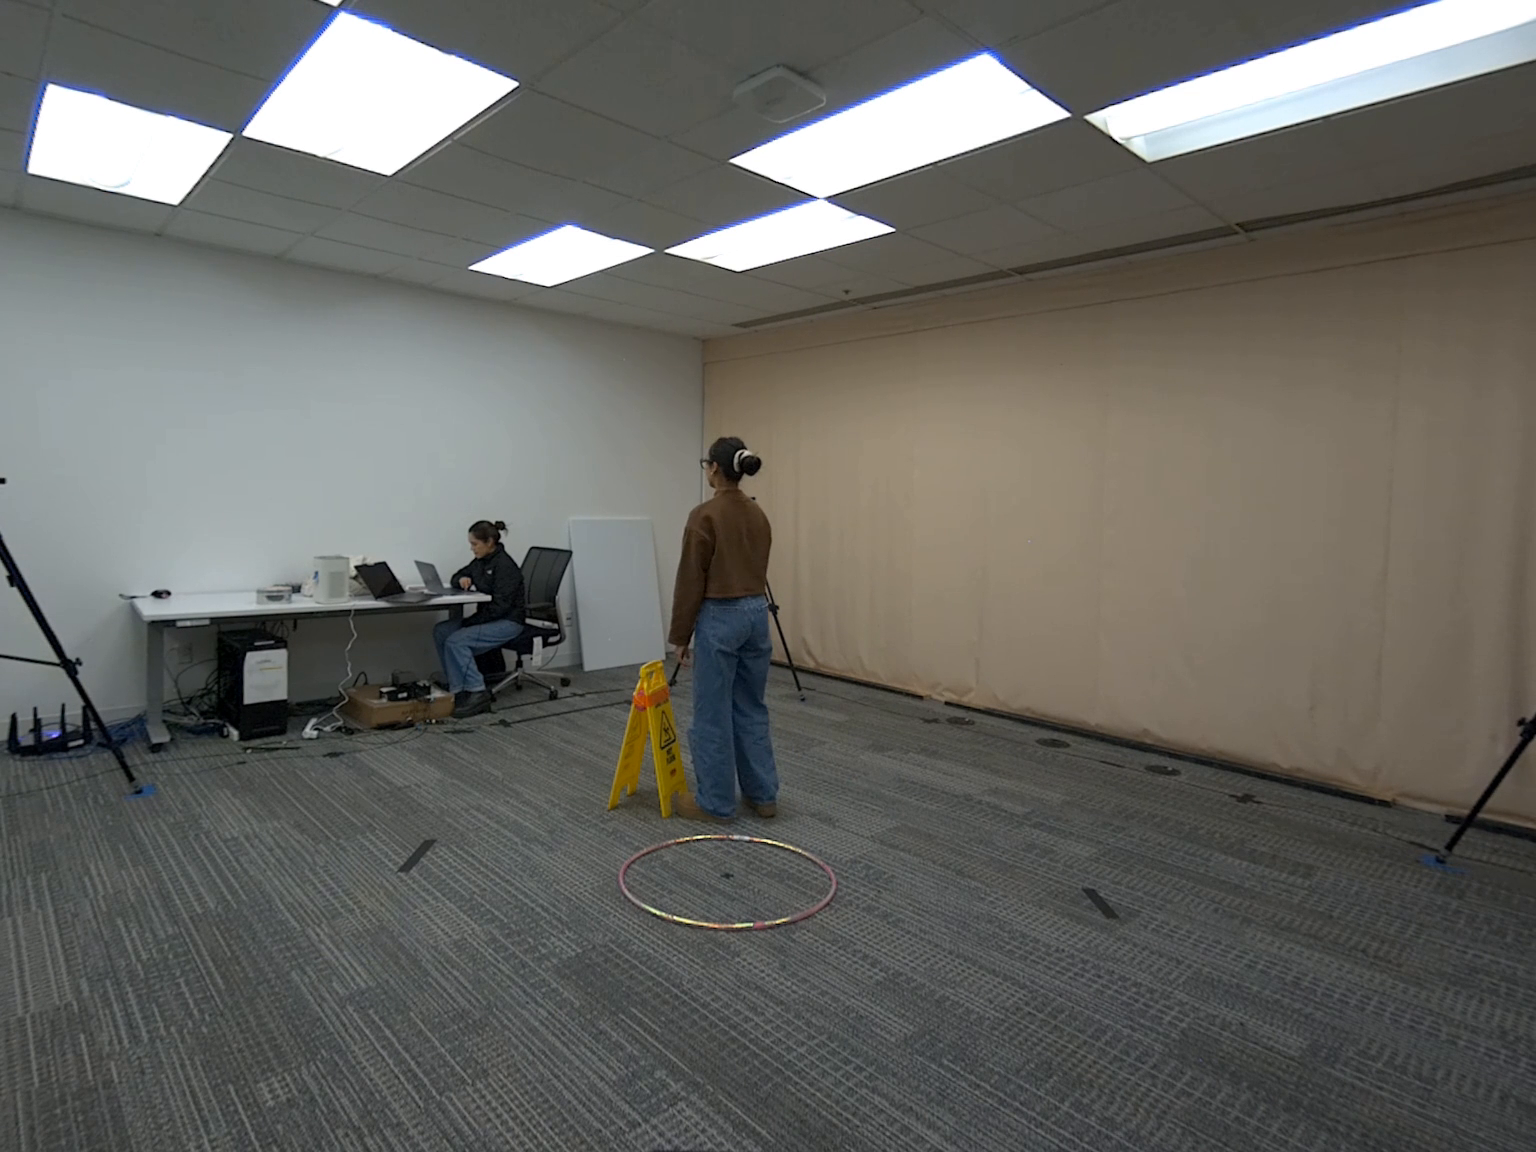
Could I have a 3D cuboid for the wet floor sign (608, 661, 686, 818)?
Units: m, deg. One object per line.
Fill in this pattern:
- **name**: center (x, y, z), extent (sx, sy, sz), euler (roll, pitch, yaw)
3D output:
- **wet floor sign**: center (-0.537, 0.706, 3.803), extent (0.294, 0.645, 0.278), euler (2, 2, 17)
